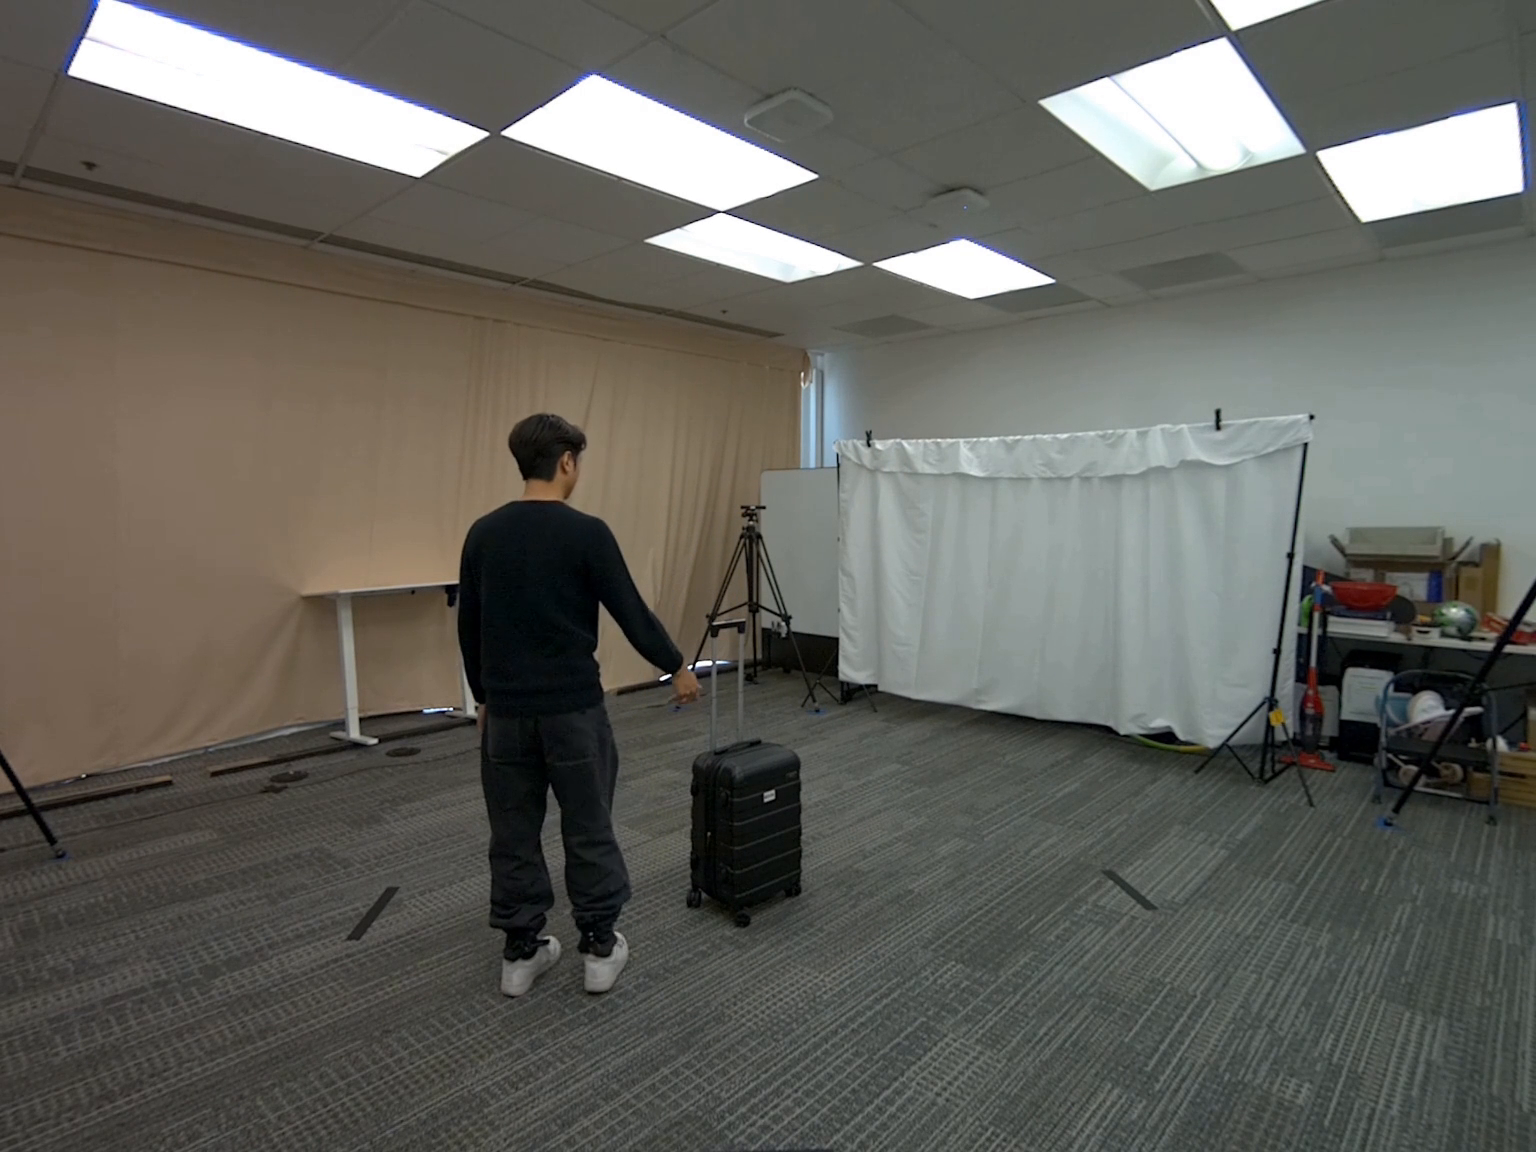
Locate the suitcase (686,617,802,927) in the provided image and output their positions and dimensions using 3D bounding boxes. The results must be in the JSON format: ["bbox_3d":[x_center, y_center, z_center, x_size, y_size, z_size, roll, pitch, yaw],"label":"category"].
[{"bbox_3d":[-0.065,0.667,2.942,0.266,0.976,0.372,5,6,44],"label":"suitcase"}]
